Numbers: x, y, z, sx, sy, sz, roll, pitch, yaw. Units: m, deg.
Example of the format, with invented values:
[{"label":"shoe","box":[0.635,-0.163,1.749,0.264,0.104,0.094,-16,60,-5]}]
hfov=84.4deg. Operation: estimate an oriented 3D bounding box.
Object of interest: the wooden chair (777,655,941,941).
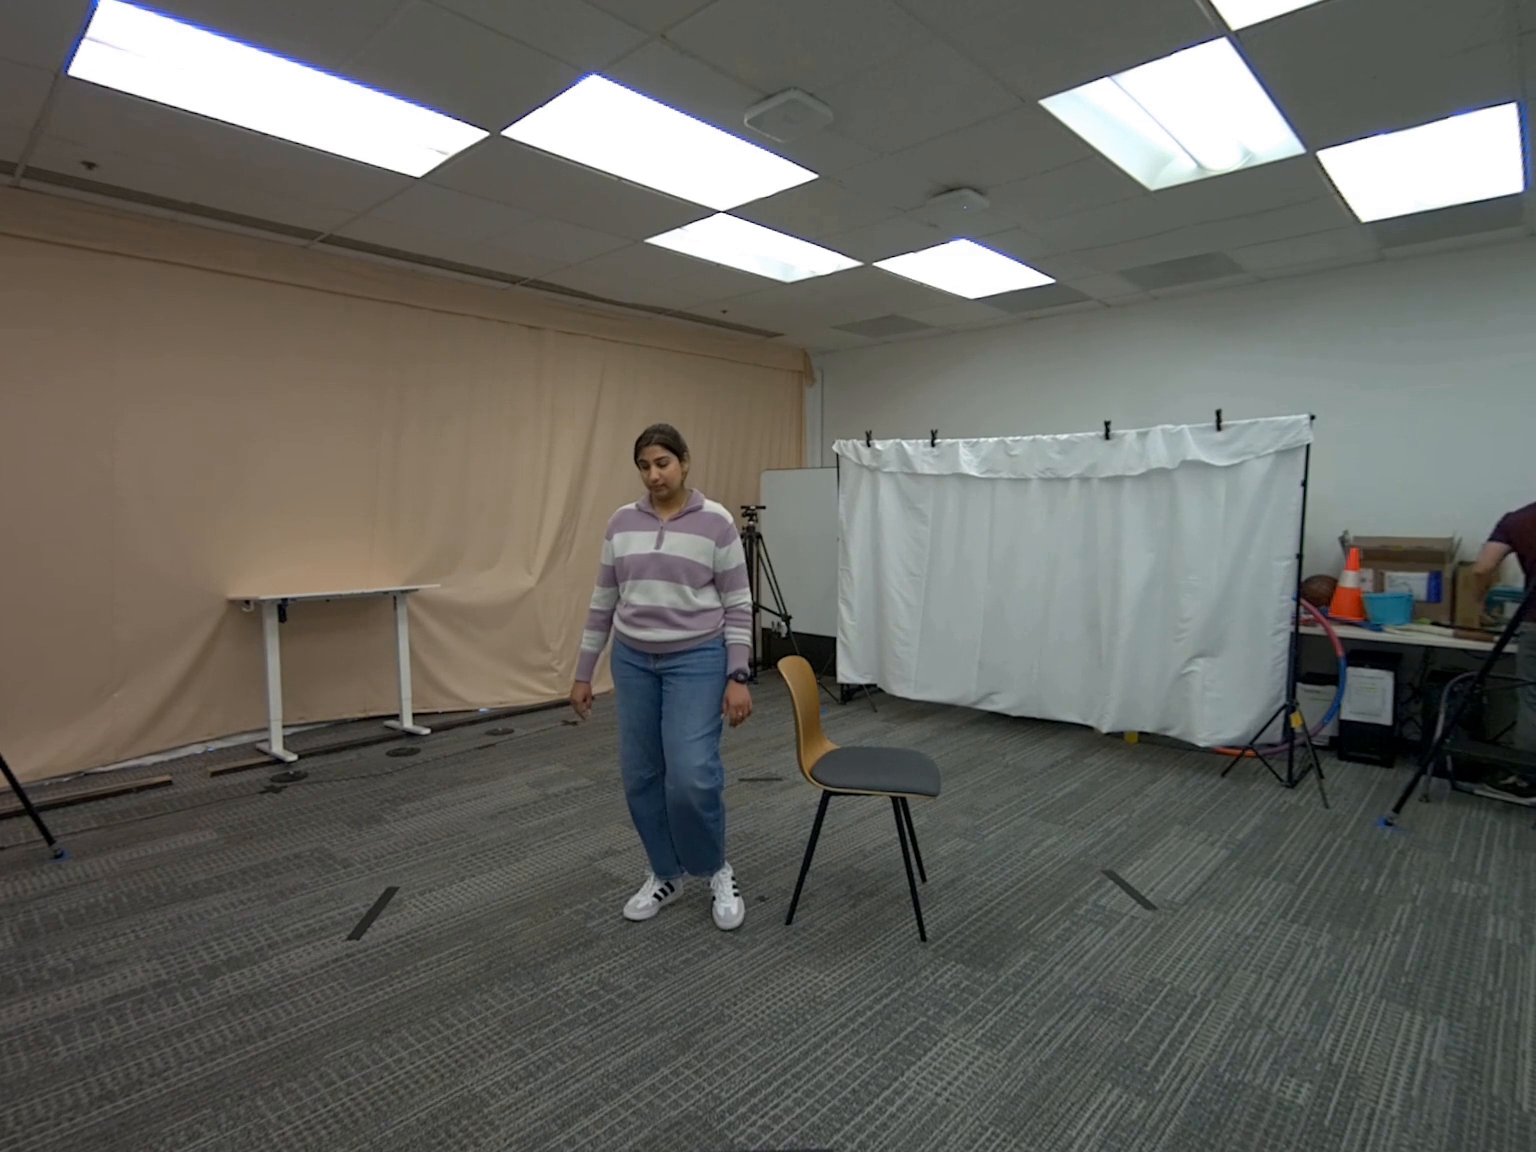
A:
[{"label":"wooden chair","box":[0.335,0.720,2.917,0.531,0.876,0.472,-3,2,13]}]
